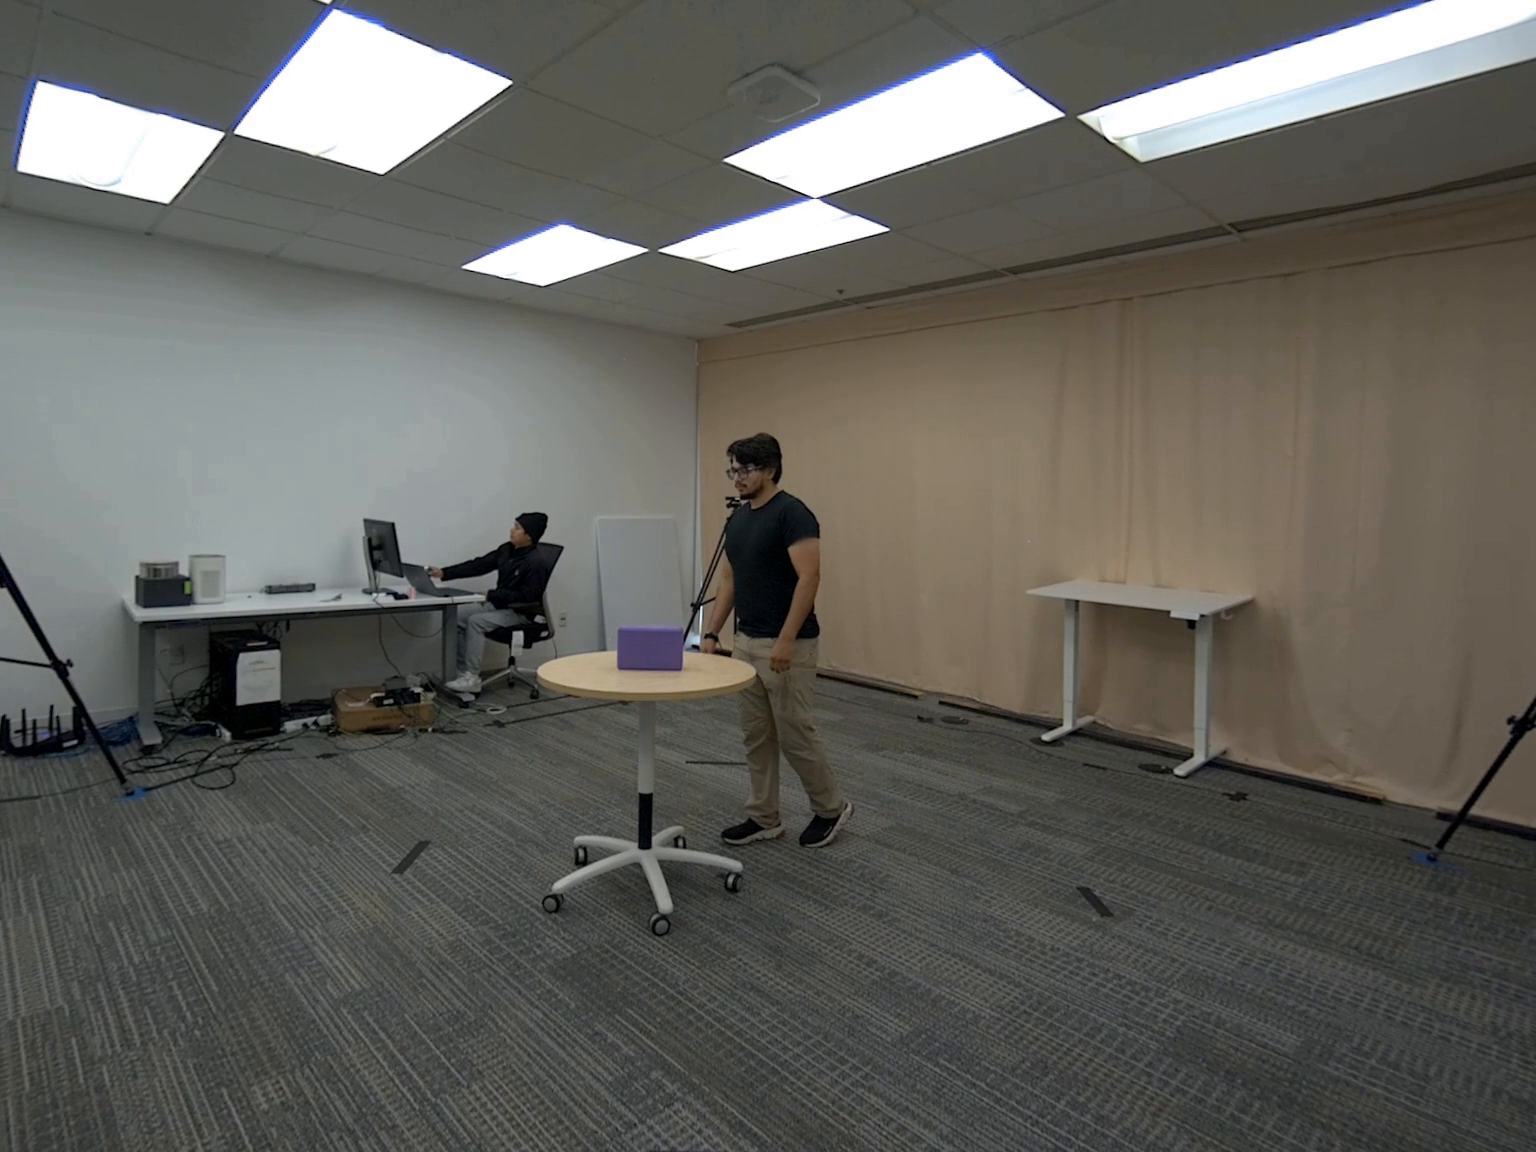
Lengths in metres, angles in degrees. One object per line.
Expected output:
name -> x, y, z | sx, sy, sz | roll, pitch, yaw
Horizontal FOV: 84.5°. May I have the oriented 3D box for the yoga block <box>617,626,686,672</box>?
yoga block -> -0.426, 0.254, 2.972 | 0.229, 0.148, 0.076 | 2, 4, 0
